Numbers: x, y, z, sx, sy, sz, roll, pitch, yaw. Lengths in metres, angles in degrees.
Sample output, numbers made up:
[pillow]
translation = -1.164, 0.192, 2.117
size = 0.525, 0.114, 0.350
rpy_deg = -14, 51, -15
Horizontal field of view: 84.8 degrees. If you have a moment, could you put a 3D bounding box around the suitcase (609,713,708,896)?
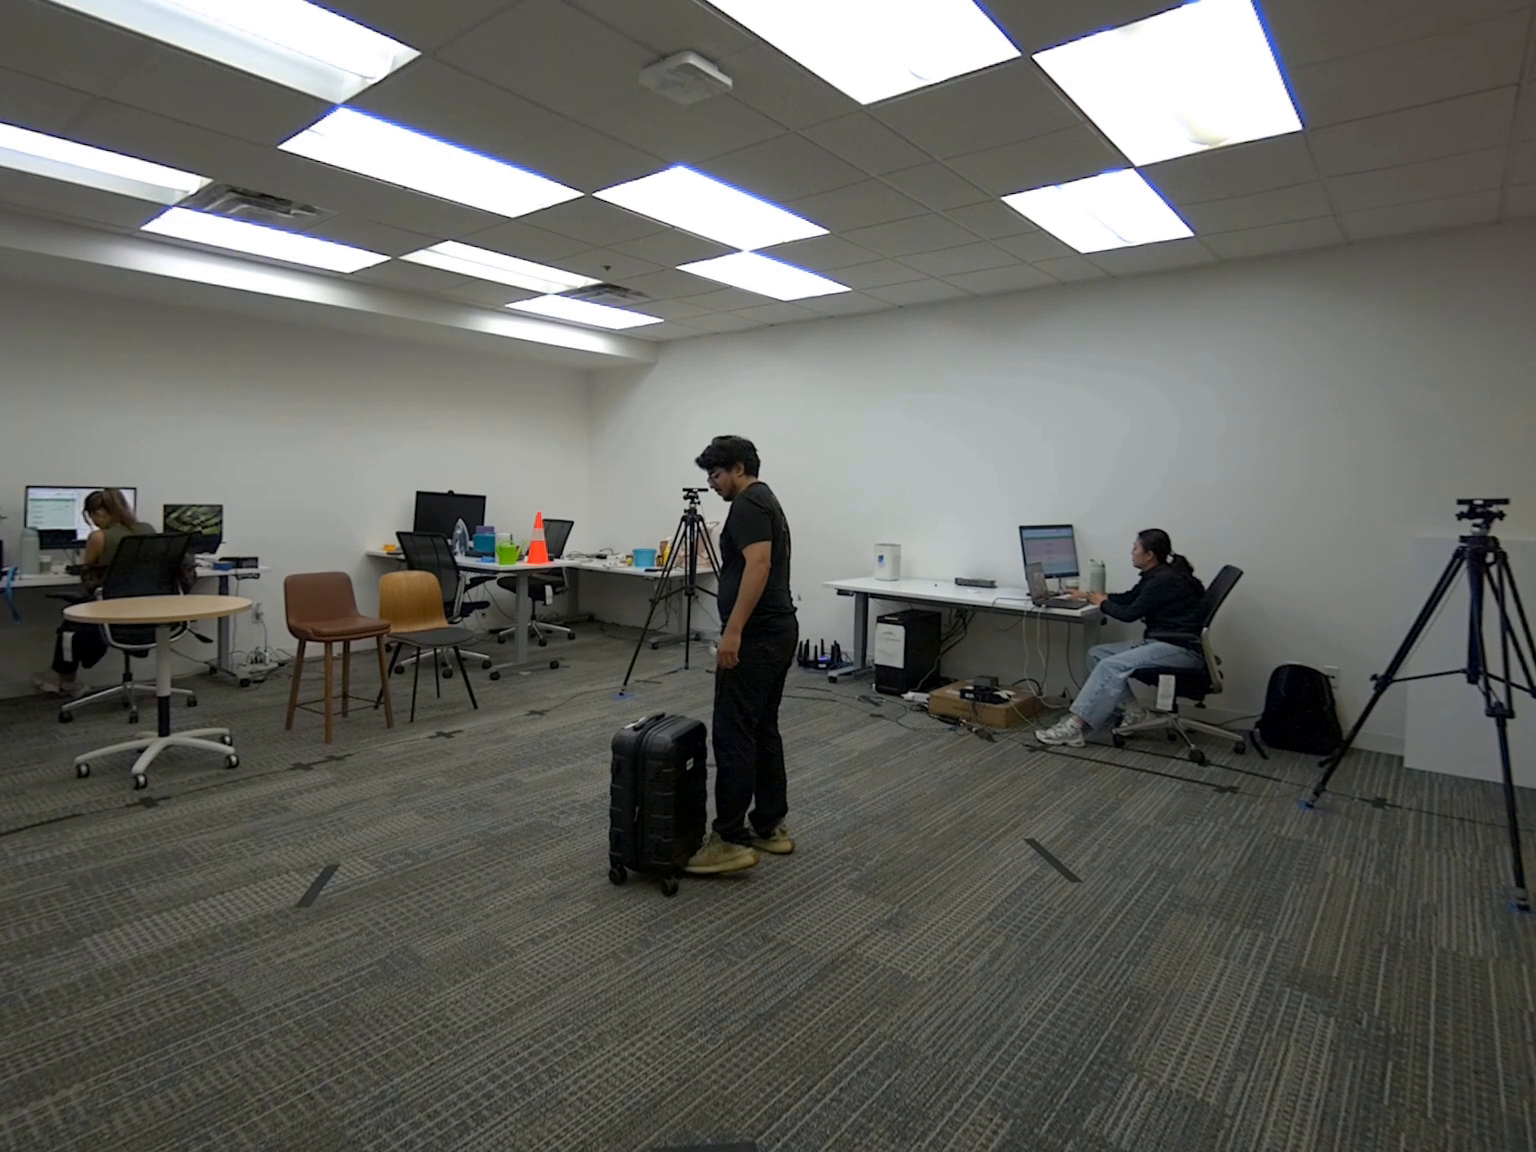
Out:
[suitcase]
translation = -0.402, 0.789, 3.085
size = 0.254, 0.548, 0.368
rpy_deg = 2, 2, 19
